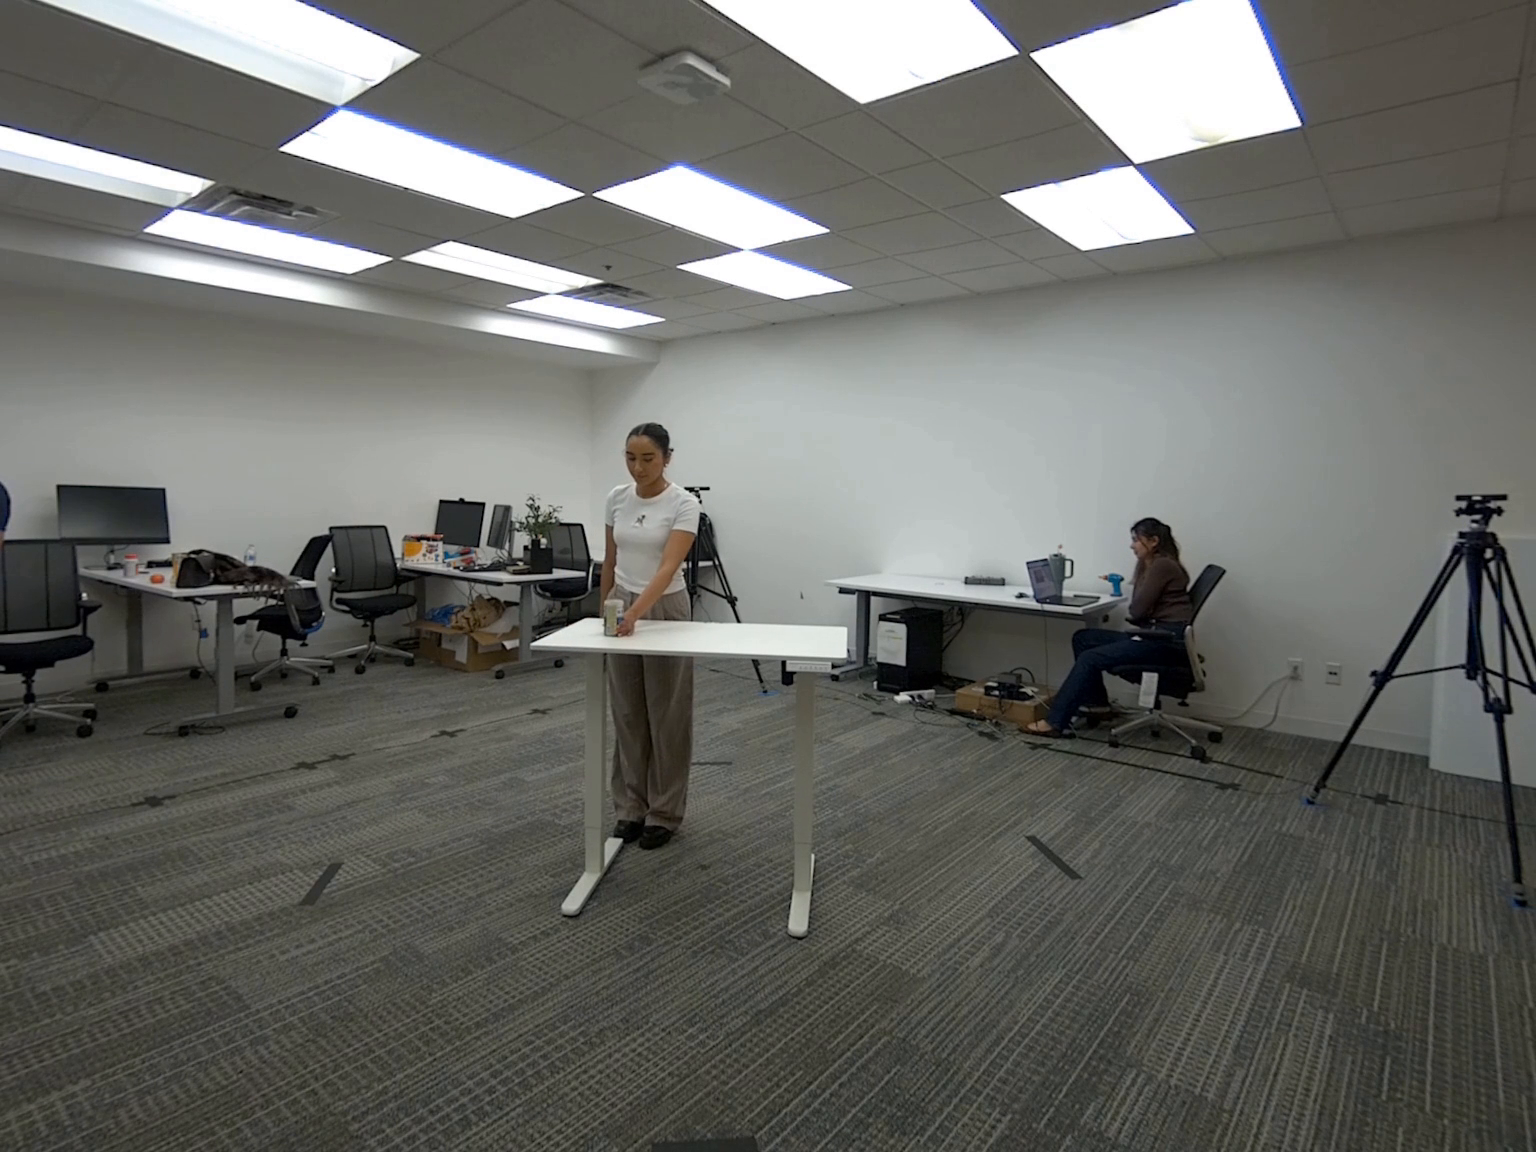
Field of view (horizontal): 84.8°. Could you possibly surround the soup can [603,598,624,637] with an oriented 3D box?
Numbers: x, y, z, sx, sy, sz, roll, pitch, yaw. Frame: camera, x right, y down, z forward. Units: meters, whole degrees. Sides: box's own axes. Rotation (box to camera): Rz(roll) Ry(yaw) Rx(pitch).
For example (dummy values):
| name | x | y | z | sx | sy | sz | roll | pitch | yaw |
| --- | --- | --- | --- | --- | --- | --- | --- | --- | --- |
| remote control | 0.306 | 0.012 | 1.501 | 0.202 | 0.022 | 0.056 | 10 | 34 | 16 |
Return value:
| name | x | y | z | sx | sy | sz | roll | pitch | yaw |
| --- | --- | --- | --- | --- | --- | --- | --- | --- | --- |
| soup can | -0.559 | 0.139 | 2.916 | 0.067 | 0.121 | 0.067 | 8 | 5 | -3 |
